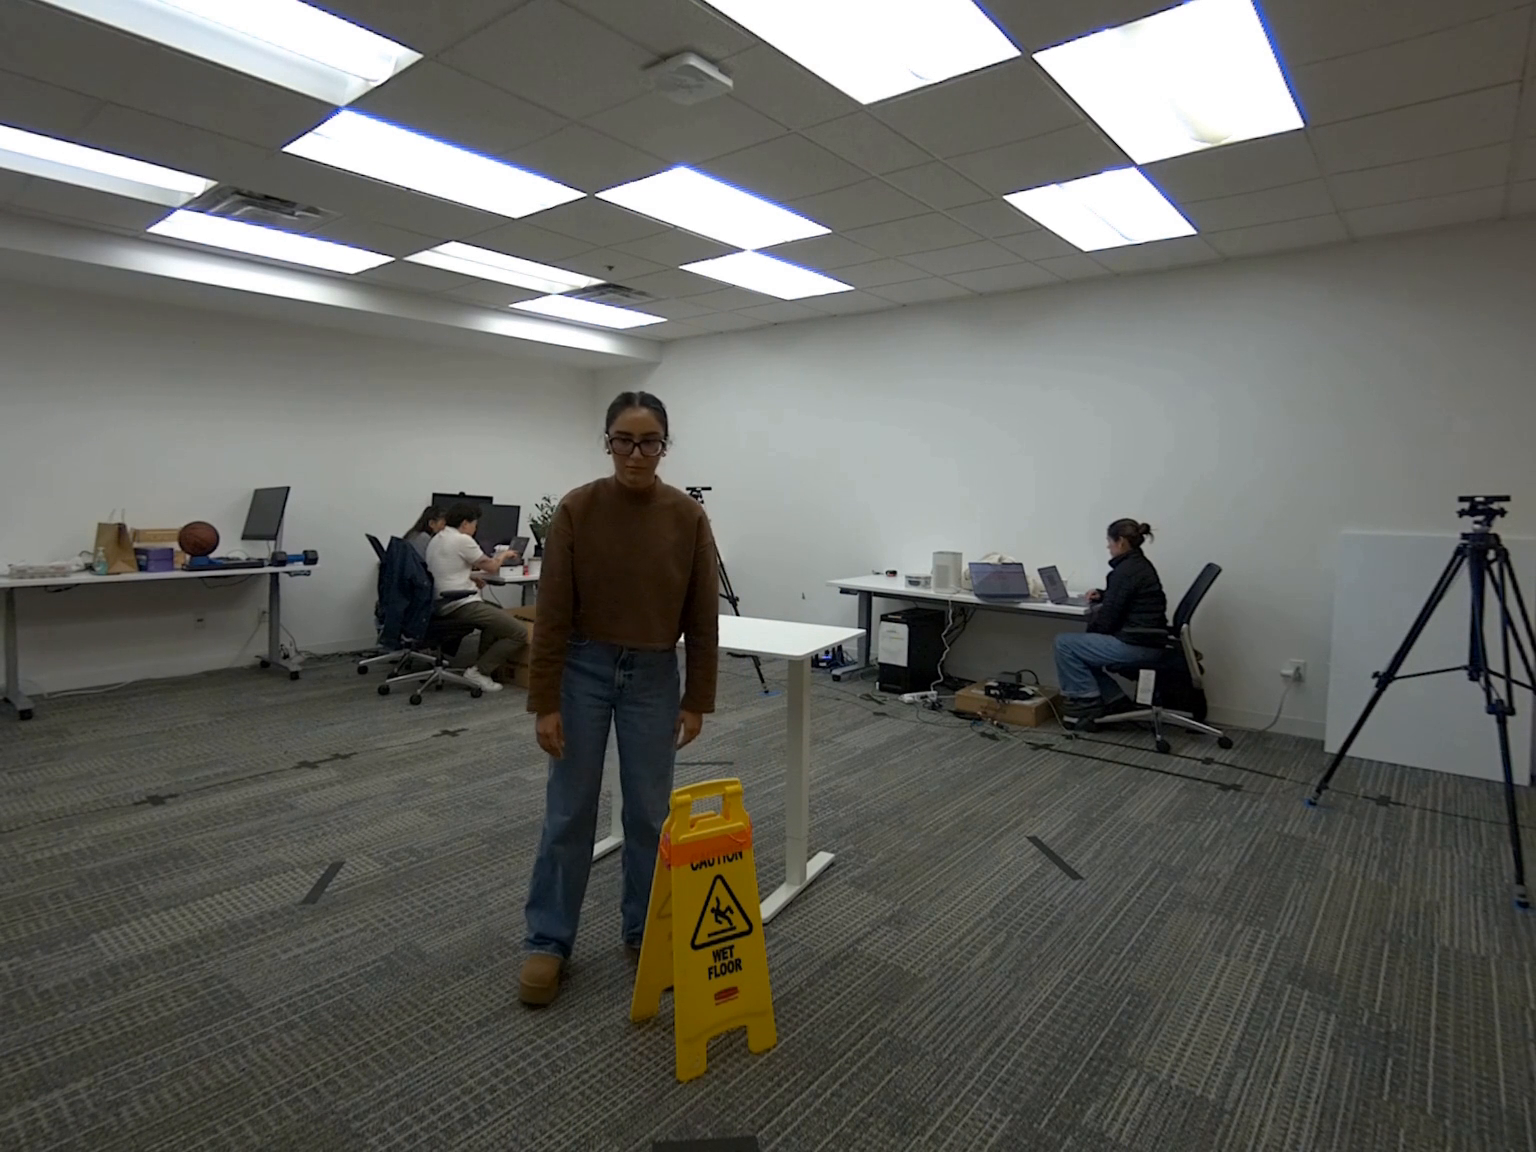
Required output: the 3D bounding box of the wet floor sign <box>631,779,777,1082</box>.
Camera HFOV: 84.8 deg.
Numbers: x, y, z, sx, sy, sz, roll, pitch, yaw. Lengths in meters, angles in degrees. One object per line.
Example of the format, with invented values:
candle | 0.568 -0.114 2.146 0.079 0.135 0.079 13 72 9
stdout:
wet floor sign | -0.165 0.840 2.155 0.274 0.644 0.299 0 4 -33
